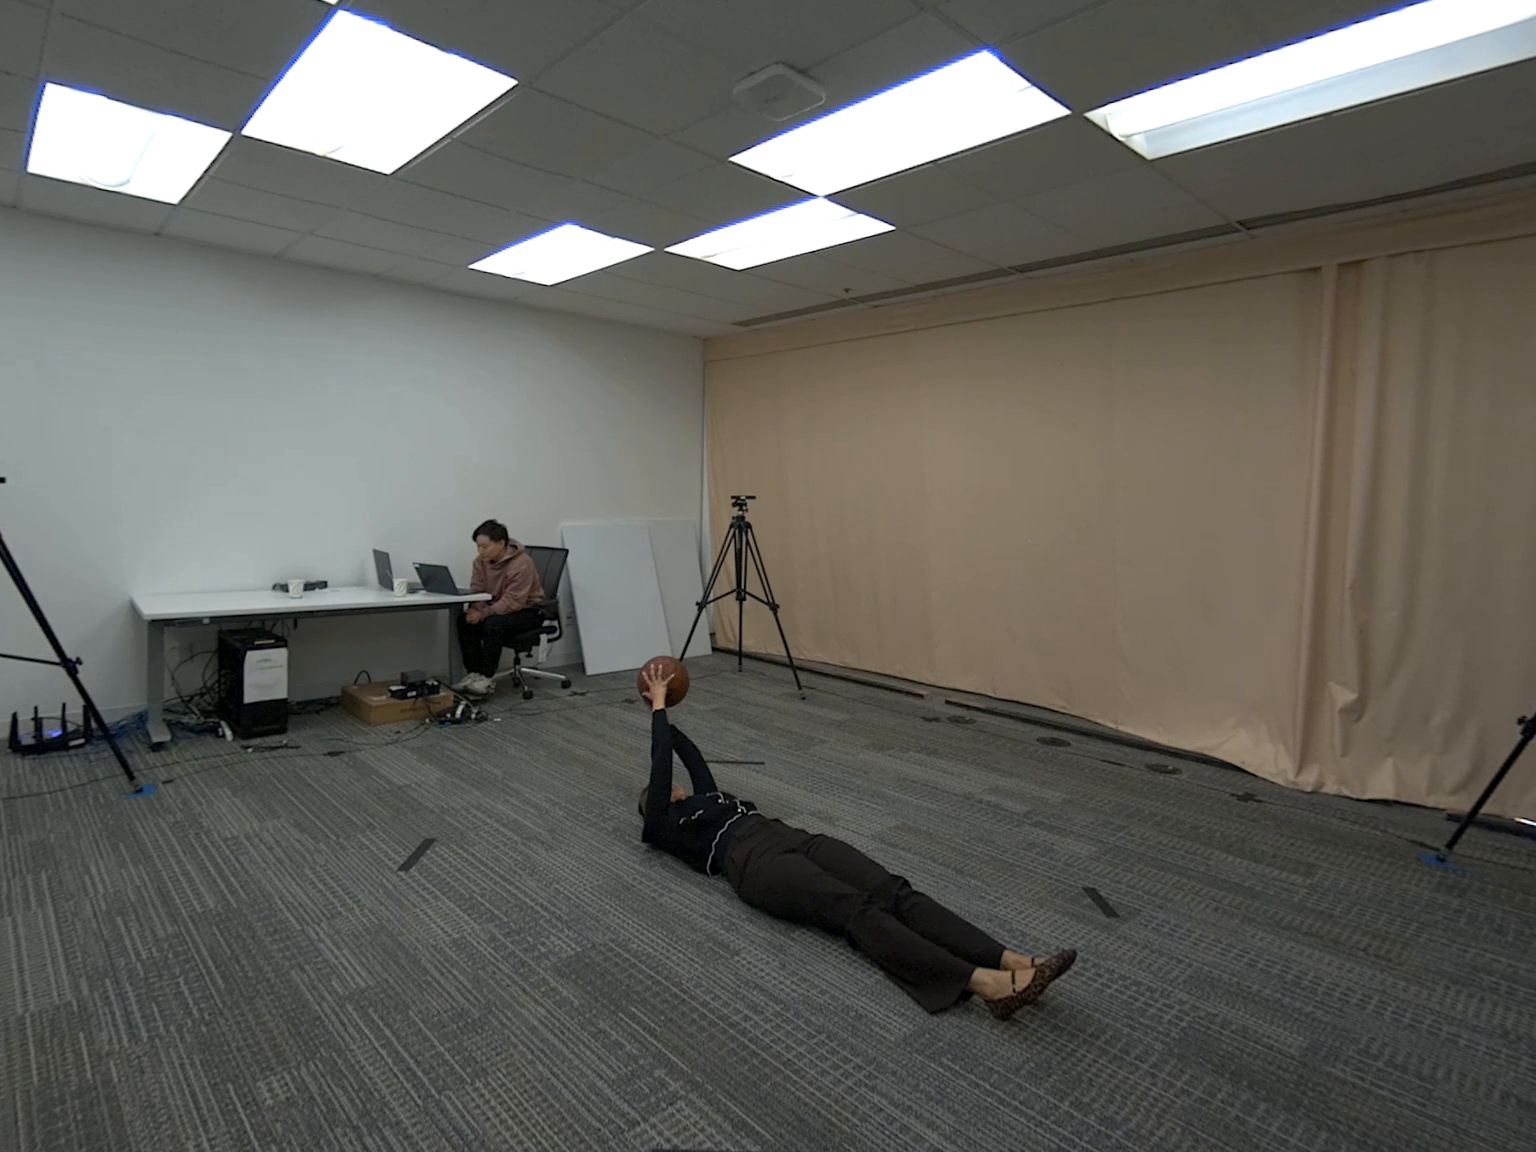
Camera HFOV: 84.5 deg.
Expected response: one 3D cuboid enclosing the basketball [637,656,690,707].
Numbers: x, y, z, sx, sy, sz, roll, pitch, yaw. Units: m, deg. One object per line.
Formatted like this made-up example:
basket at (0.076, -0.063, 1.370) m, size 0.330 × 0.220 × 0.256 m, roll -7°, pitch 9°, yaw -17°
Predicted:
basketball at (-0.476, 0.481, 3.803) m, size 0.236 × 0.235 × 0.237 m, roll 1°, pitch 4°, yaw -1°
